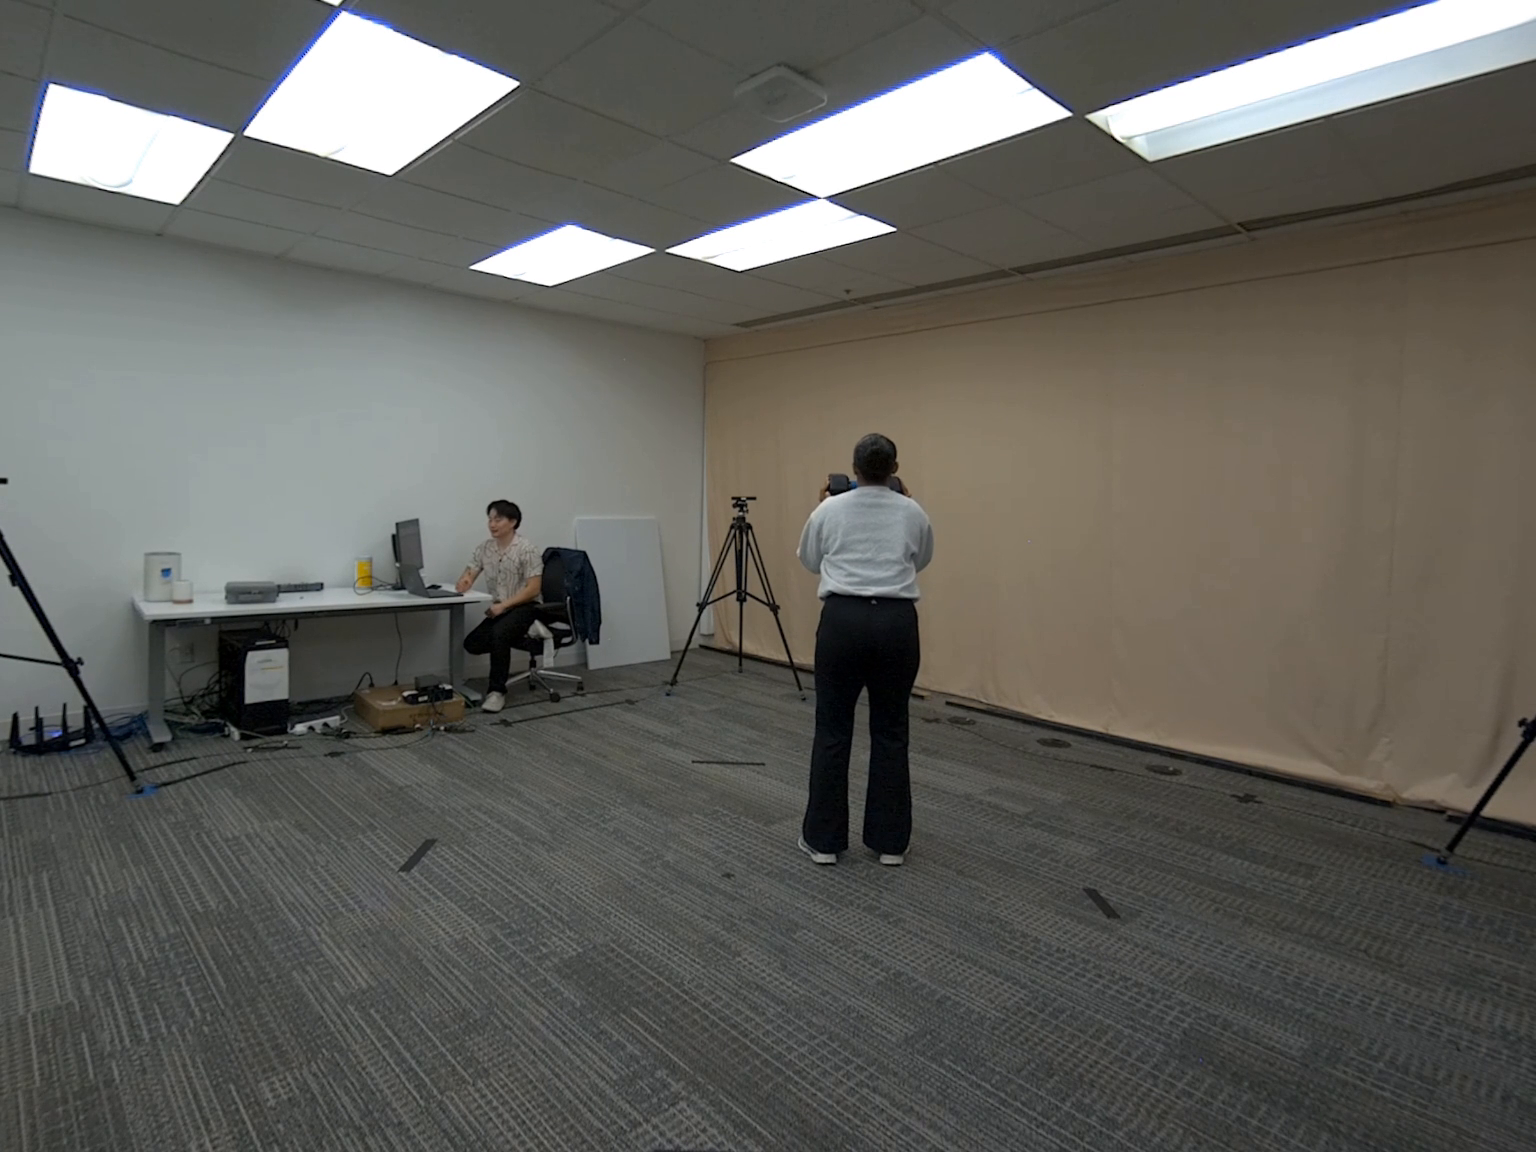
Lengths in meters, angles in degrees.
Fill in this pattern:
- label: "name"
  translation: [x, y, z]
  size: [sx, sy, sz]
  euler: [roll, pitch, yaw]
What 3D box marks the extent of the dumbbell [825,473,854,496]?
- label: "dumbbell"
  translation: [0.390, -0.344, 3.453]
  size: [0.293, 0.120, 0.111]
  euler: [3, 44, -1]
